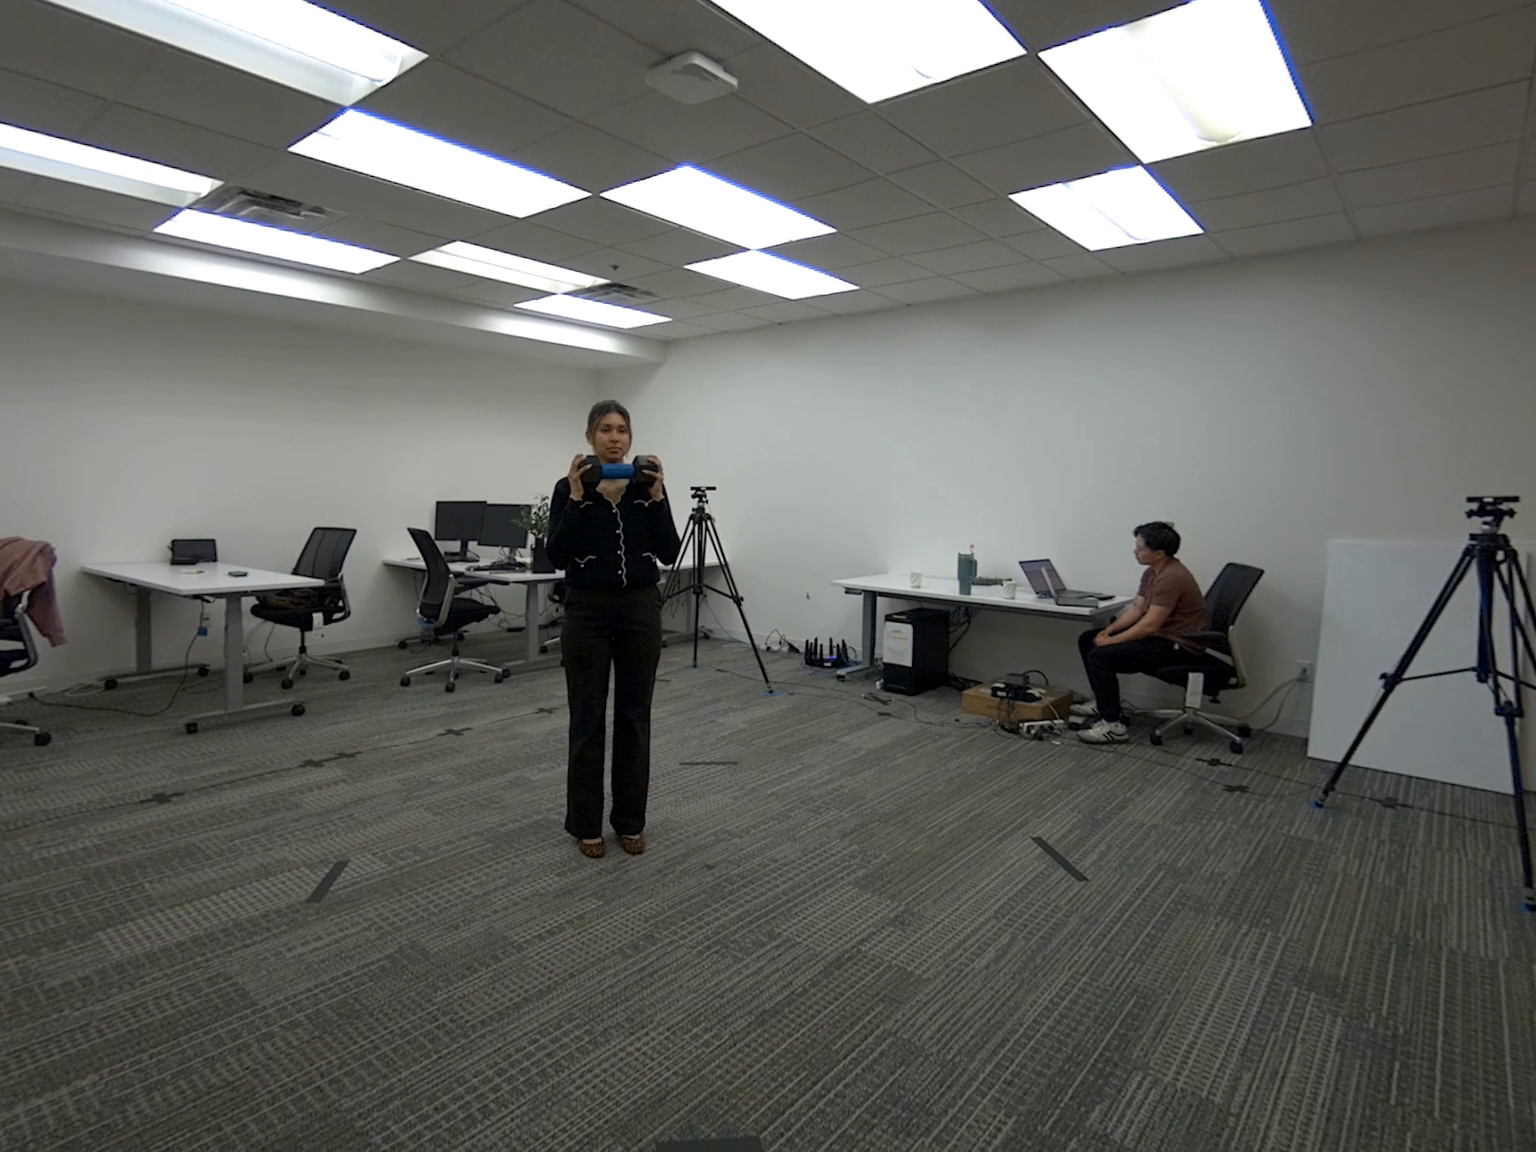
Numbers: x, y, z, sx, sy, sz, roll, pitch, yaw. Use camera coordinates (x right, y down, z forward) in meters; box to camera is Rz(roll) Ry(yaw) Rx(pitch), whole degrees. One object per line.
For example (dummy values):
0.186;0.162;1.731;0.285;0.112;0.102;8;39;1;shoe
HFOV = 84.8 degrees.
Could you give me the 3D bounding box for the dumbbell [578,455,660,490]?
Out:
-0.590;-0.393;3.201;0.289;0.120;0.112;-2;27;-16;dumbbell
